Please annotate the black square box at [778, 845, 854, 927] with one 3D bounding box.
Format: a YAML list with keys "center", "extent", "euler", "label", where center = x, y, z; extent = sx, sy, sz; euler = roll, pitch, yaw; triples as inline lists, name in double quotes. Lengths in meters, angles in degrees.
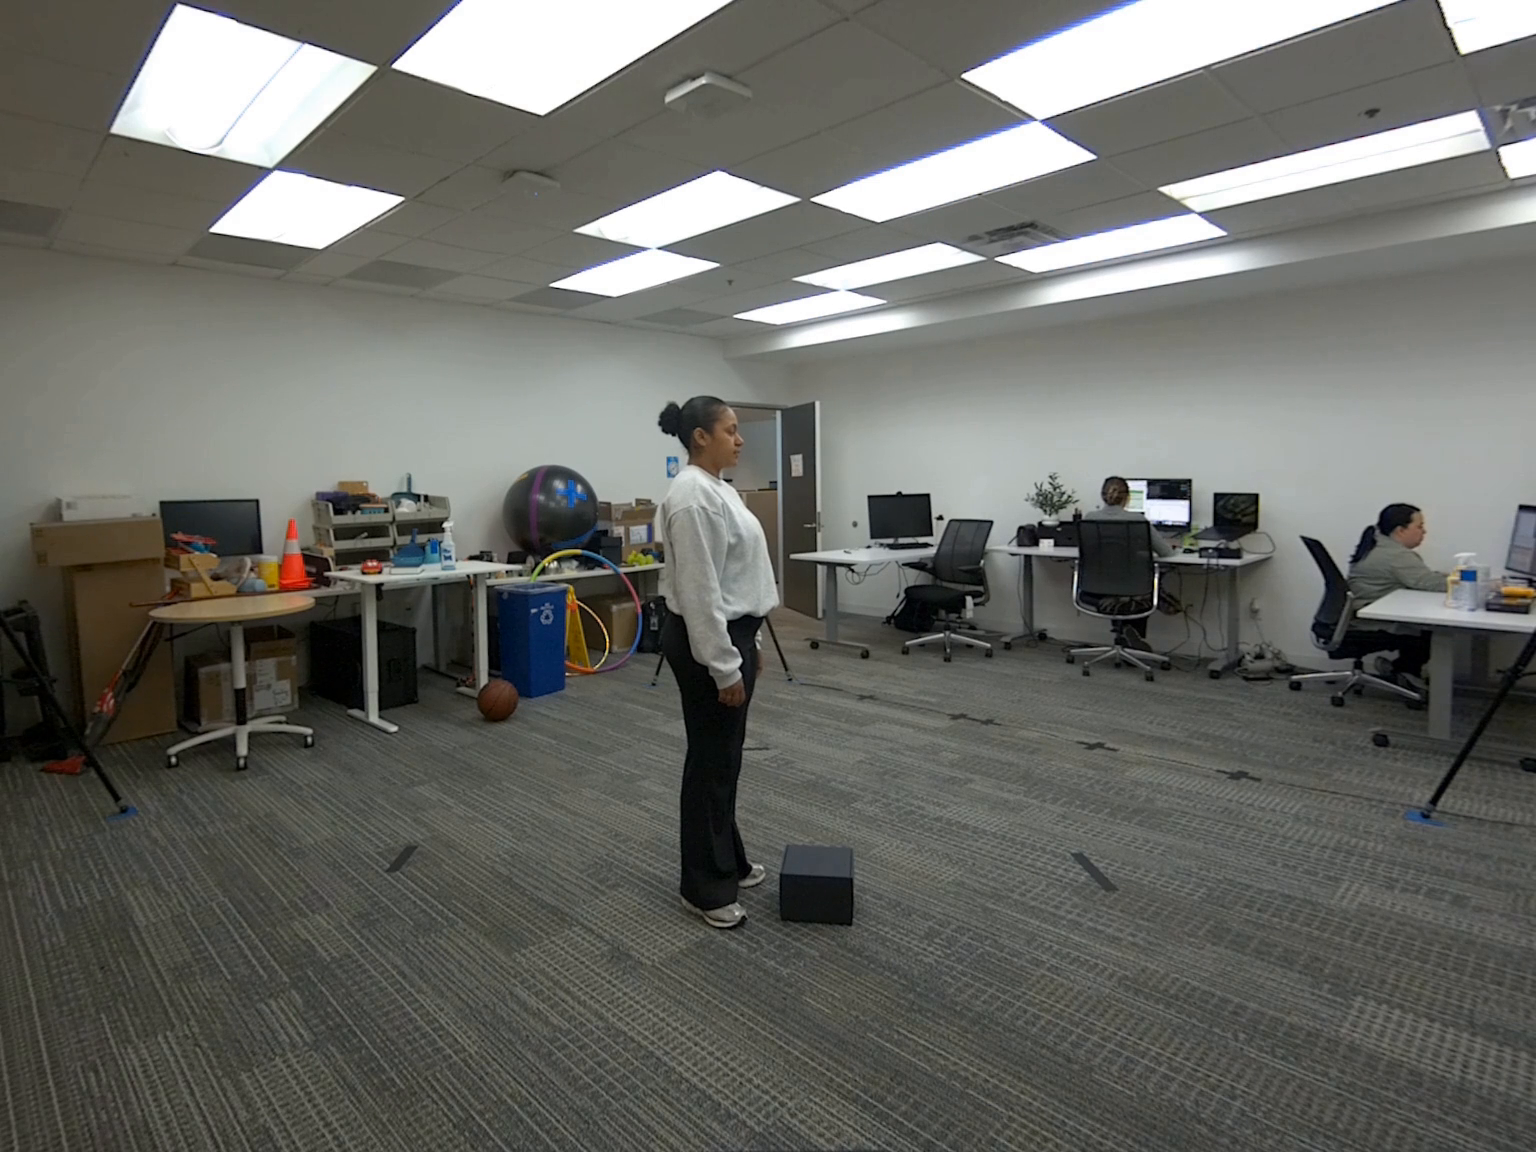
- center: [0.164, 0.987, 2.773]
  extent: [0.230, 0.155, 0.216]
  euler: [0, 6, 8]
  label: "black square box"
